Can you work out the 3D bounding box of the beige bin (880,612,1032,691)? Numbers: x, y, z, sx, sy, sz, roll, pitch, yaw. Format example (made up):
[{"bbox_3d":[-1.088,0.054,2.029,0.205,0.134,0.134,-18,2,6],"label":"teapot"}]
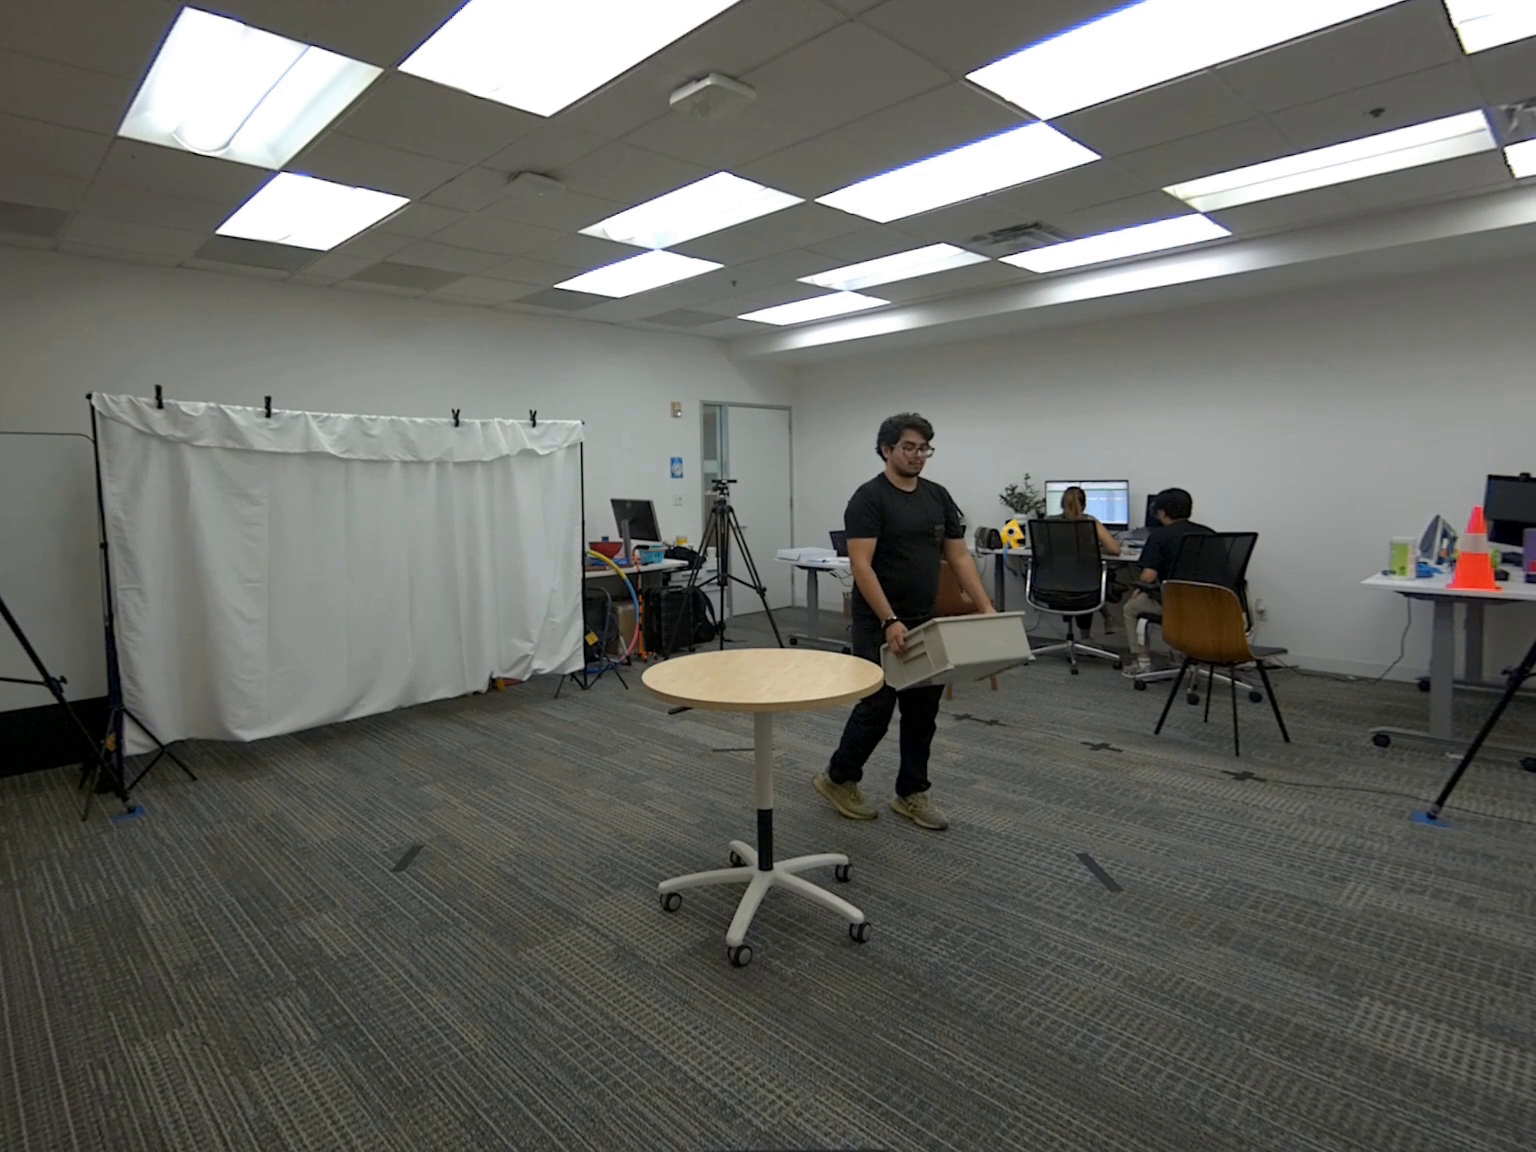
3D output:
[{"bbox_3d":[0.685,0.288,3.178,0.413,0.193,0.378,-2,-20,-28],"label":"beige bin"}]
